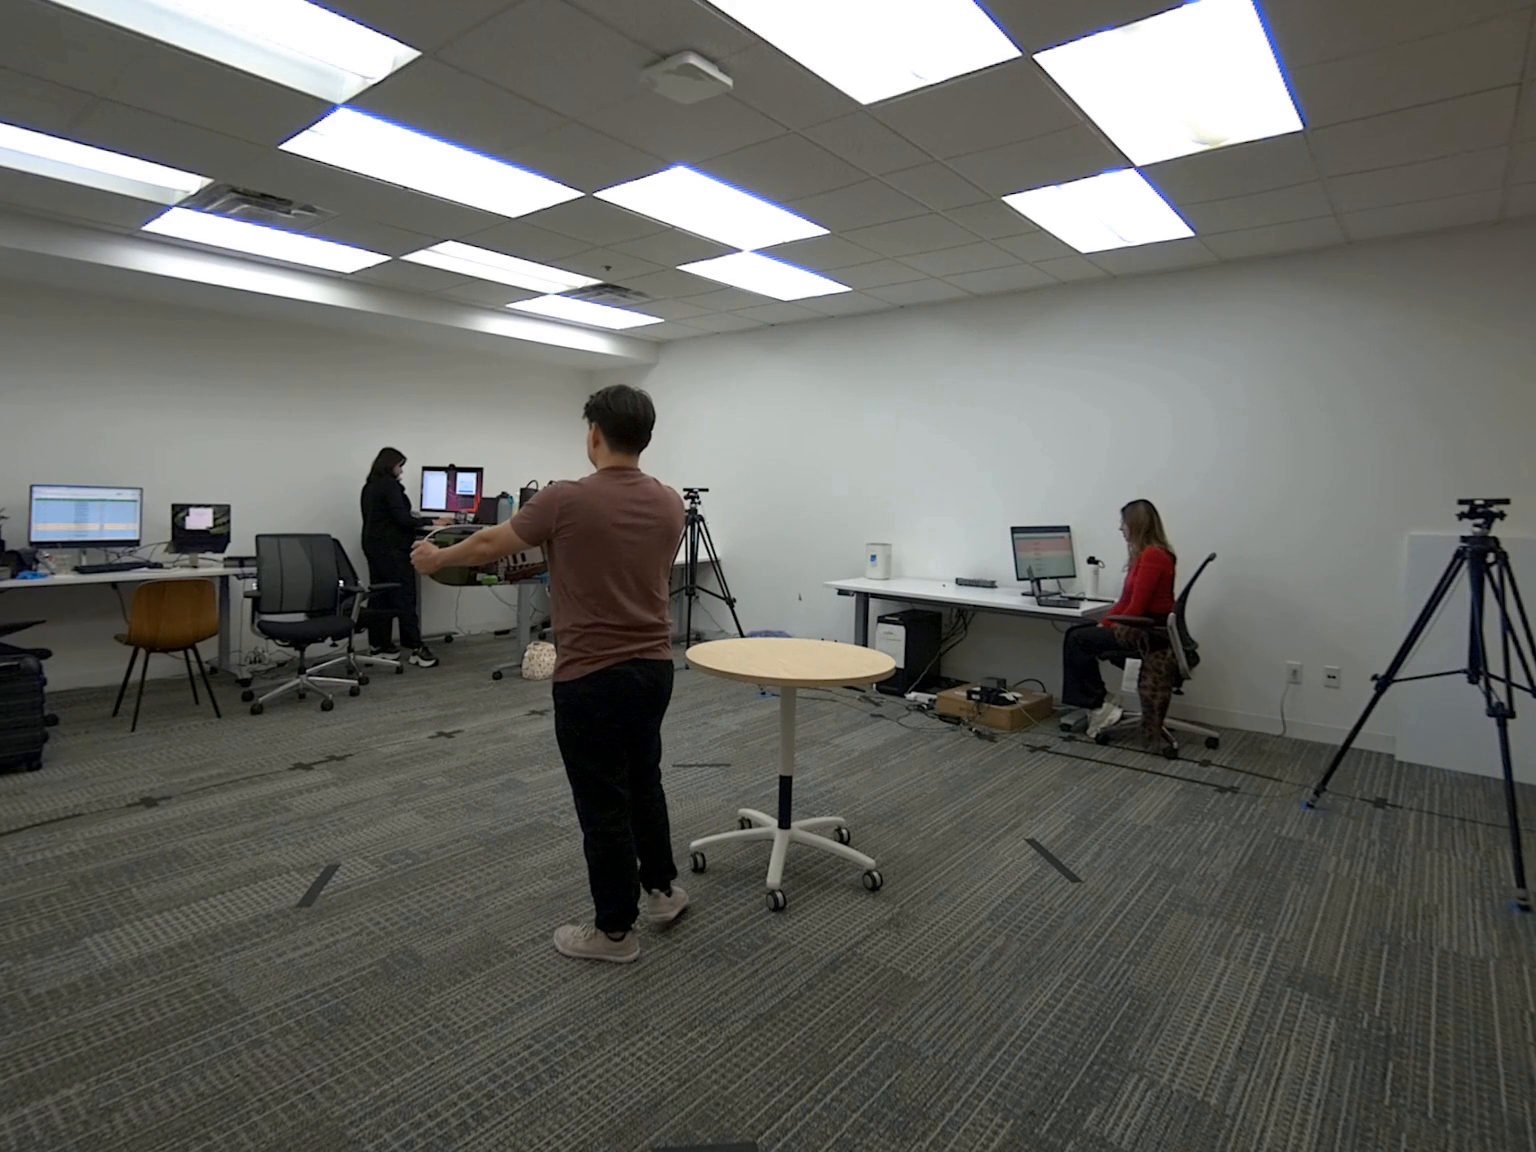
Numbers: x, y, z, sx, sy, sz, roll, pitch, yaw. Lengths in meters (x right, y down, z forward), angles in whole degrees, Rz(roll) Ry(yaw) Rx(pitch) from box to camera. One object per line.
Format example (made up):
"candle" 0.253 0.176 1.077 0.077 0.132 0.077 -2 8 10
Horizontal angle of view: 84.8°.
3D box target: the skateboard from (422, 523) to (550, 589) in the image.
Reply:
"skateboard" -0.757 -0.074 2.838 0.761 0.193 0.114 -2 4 -41
